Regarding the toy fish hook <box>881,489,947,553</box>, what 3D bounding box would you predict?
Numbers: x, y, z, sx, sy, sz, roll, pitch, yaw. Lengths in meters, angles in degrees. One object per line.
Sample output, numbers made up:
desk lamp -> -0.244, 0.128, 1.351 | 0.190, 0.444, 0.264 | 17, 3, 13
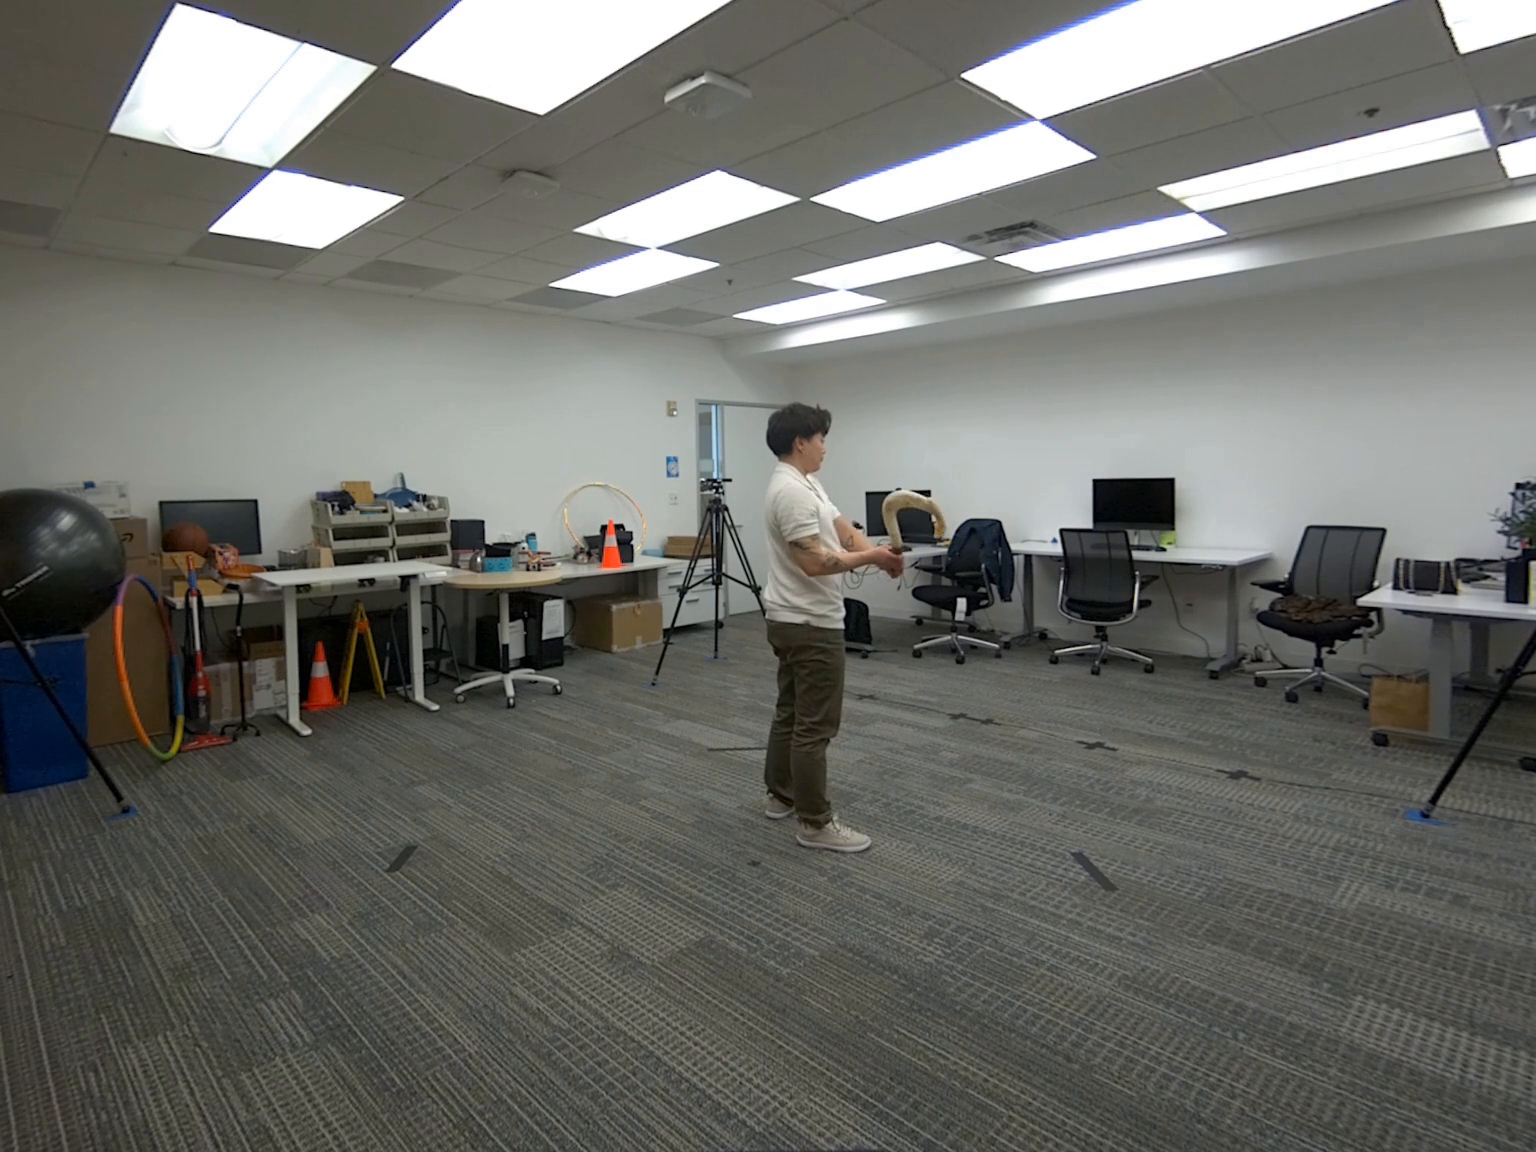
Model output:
toy fish hook -> 0.504, -0.124, 3.044 | 0.230, 0.048, 0.493 | 25, -30, 18
